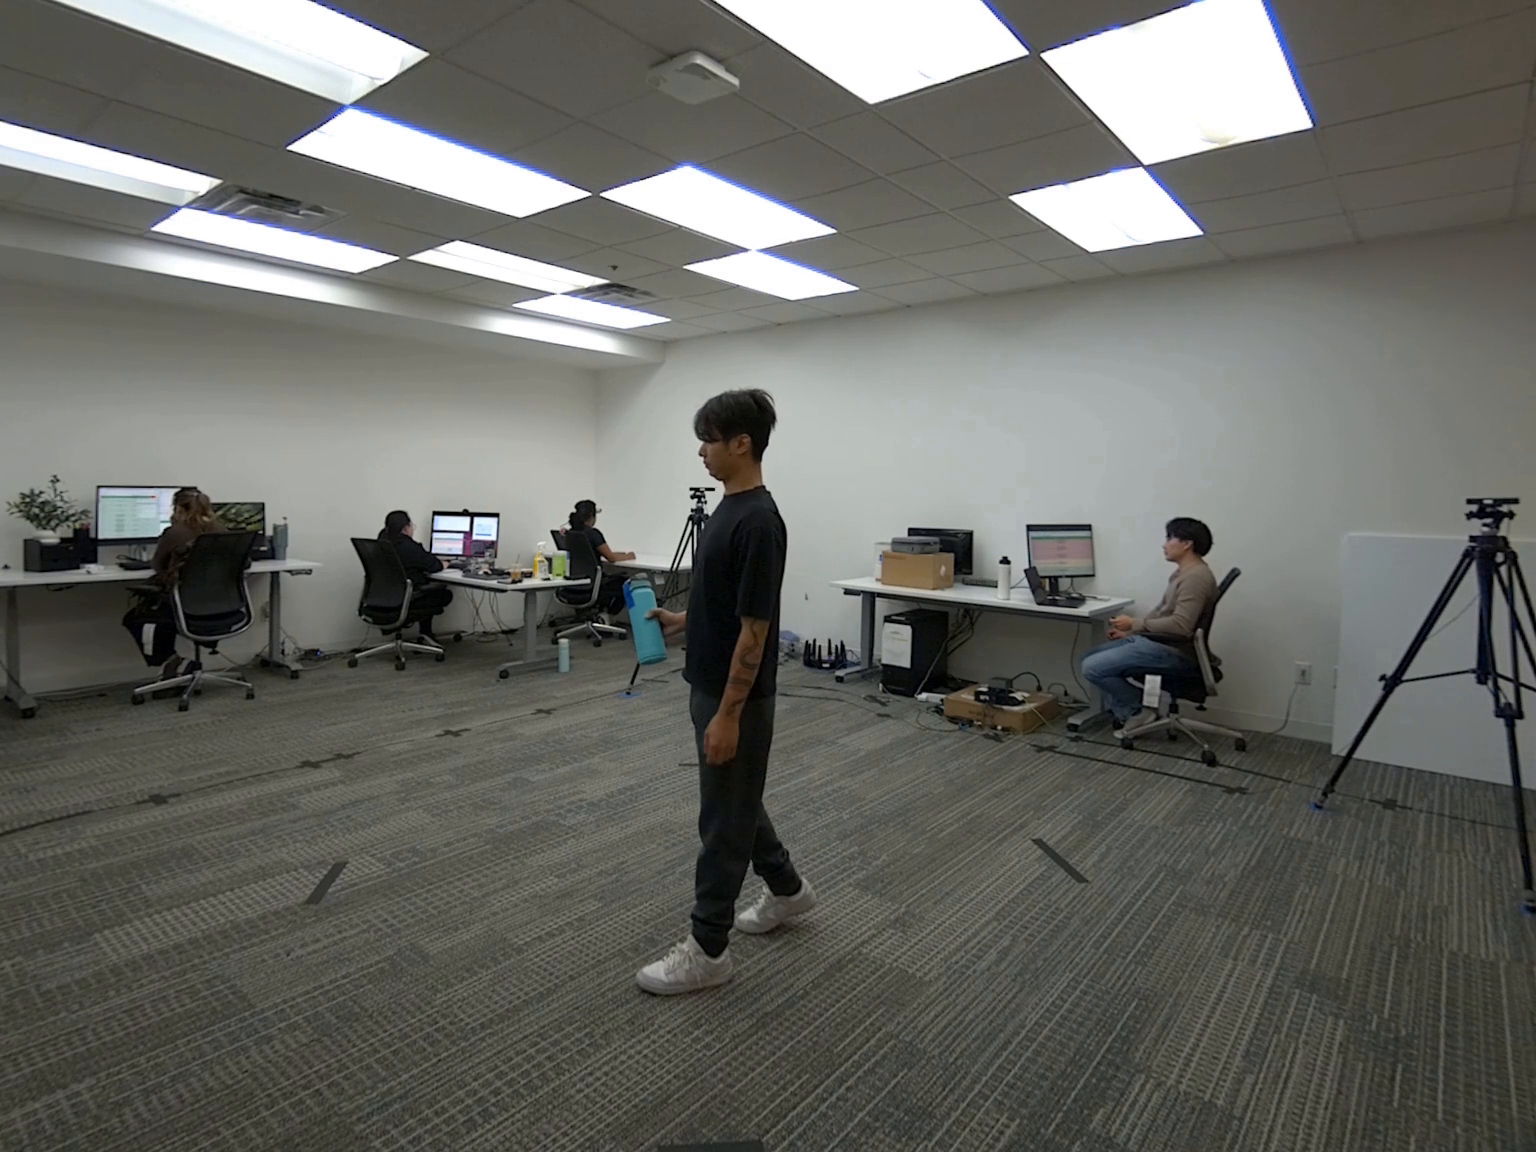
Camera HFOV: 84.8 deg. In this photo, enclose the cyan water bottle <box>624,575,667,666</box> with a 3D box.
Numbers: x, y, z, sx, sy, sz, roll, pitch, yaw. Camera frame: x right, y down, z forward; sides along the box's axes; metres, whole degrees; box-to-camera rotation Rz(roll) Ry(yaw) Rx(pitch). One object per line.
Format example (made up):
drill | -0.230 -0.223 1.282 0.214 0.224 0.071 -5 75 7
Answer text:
cyan water bottle | -0.394 0.133 2.660 0.092 0.289 0.091 -12 -16 -5
